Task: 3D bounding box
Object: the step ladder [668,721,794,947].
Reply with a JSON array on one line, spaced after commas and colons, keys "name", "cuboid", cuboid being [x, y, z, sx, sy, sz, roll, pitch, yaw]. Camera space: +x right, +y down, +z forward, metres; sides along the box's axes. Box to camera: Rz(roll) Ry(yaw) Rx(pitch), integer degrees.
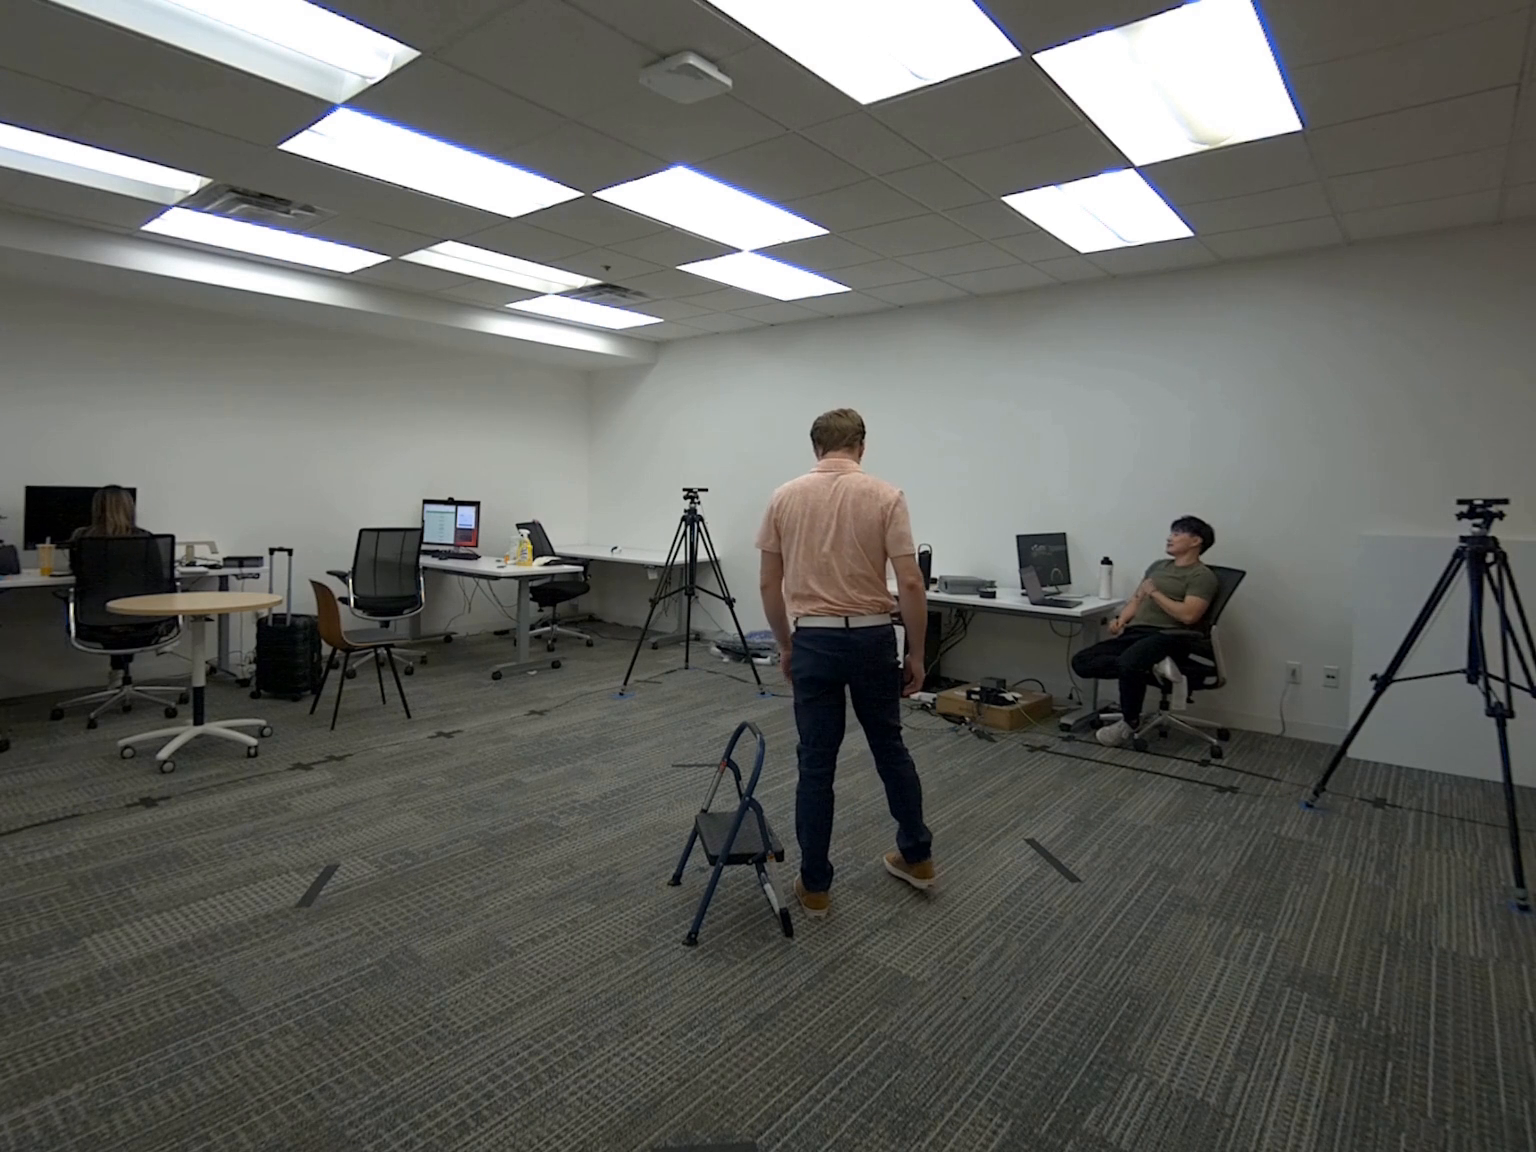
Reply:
[{"name": "step ladder", "cuboid": [-0.131, 0.805, 2.802, 0.345, 0.604, 0.438, 0, 4, -12]}]
